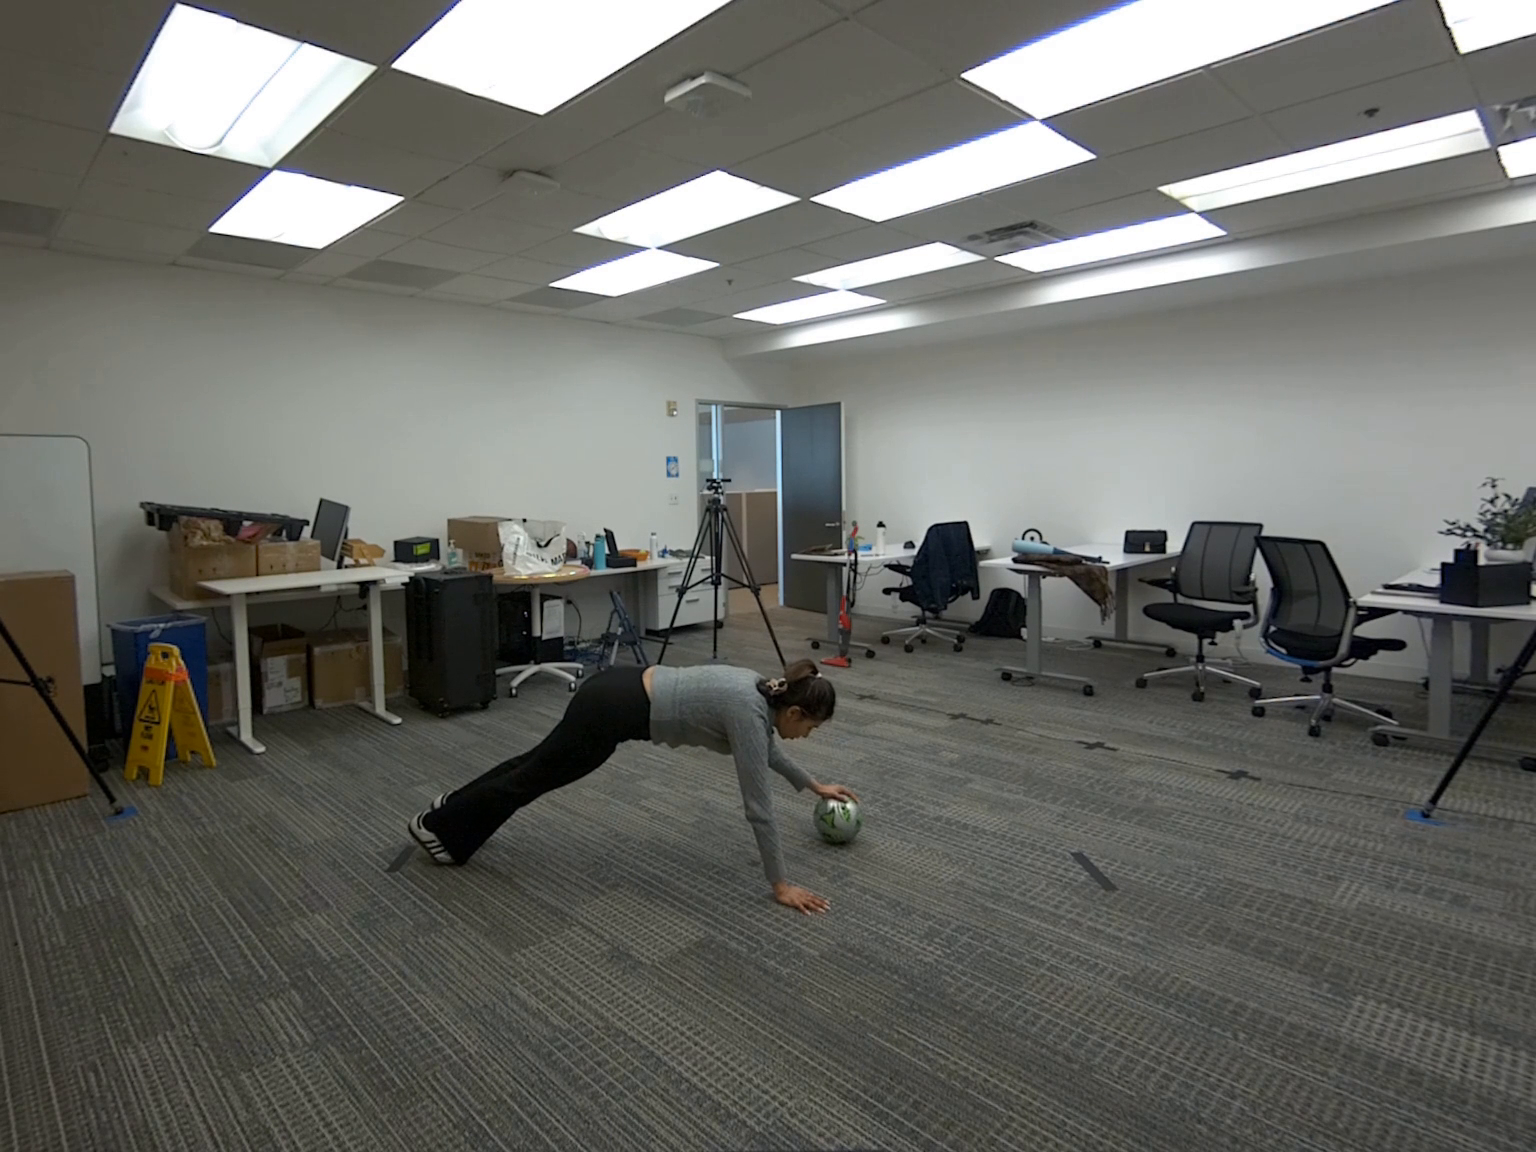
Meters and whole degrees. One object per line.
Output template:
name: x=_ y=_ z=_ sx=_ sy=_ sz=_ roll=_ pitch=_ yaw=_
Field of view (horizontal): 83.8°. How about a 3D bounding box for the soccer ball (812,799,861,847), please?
soccer ball: x=0.260 y=0.922 z=3.285 sx=0.187 sy=0.187 sz=0.188 roll=-1 pitch=5 yaw=-2
